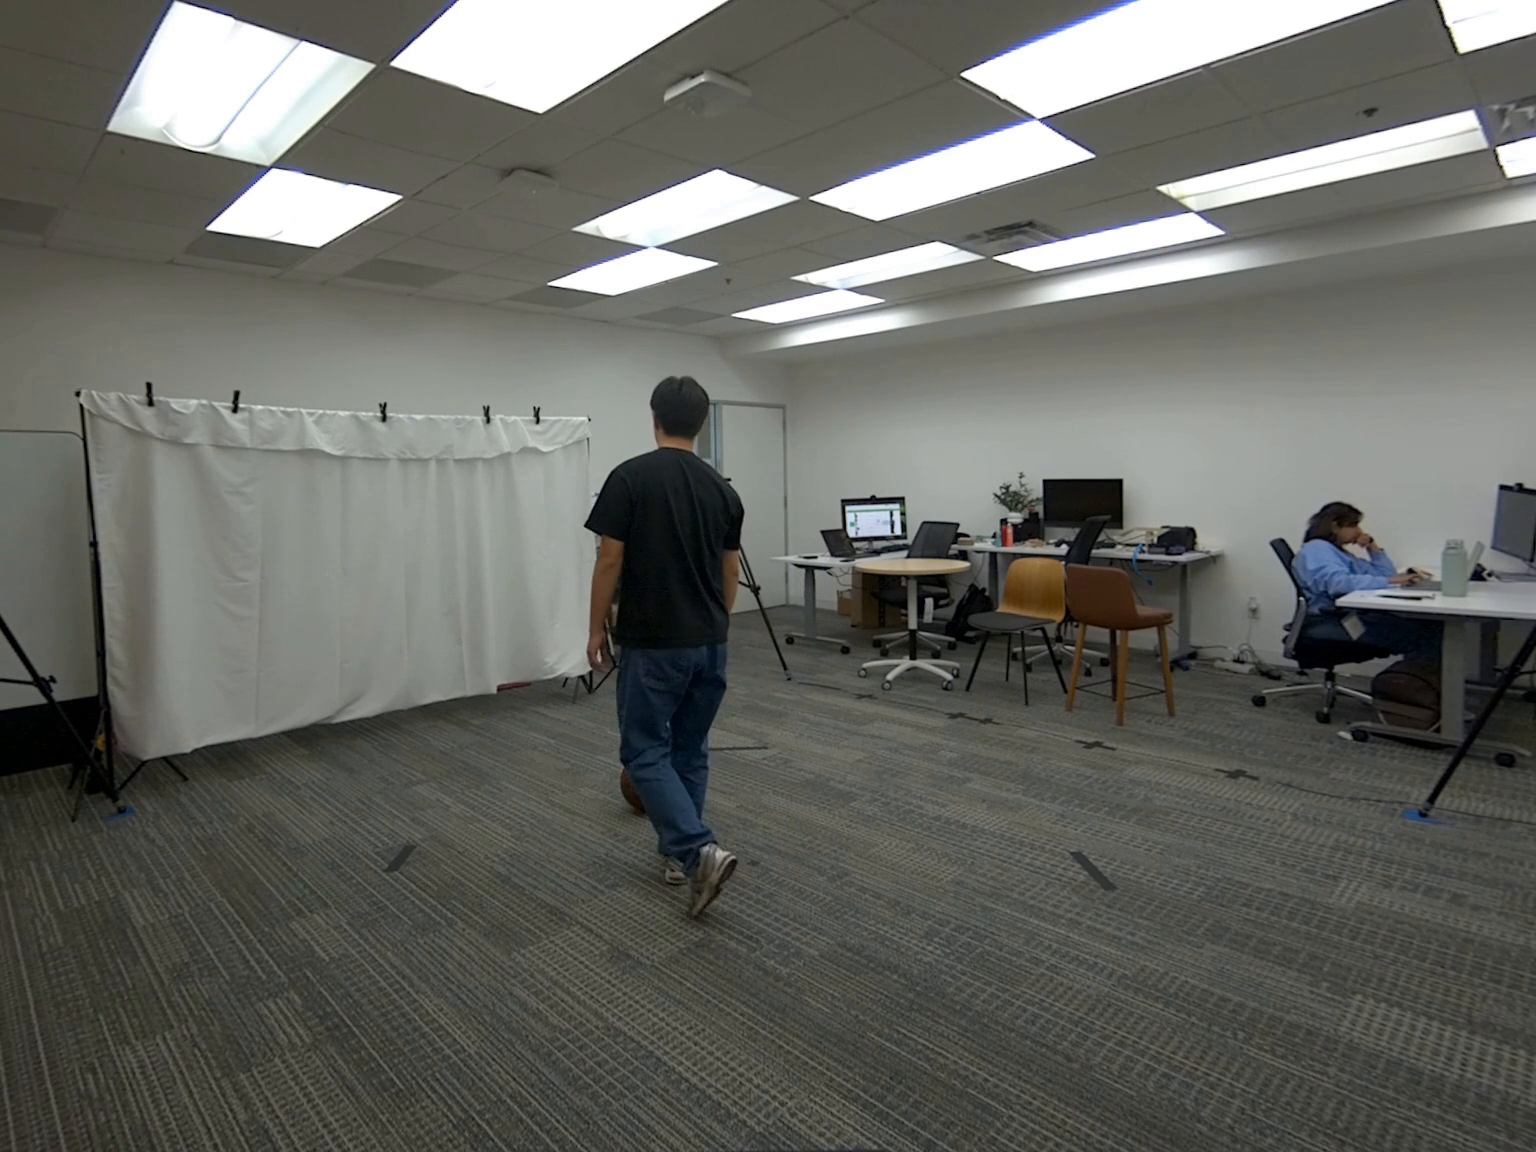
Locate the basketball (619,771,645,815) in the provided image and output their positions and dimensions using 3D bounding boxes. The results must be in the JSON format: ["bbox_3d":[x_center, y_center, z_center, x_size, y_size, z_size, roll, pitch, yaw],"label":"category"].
[{"bbox_3d":[-0.503,0.874,3.627,0.236,0.235,0.237,-1,5,-2],"label":"basketball"}]
